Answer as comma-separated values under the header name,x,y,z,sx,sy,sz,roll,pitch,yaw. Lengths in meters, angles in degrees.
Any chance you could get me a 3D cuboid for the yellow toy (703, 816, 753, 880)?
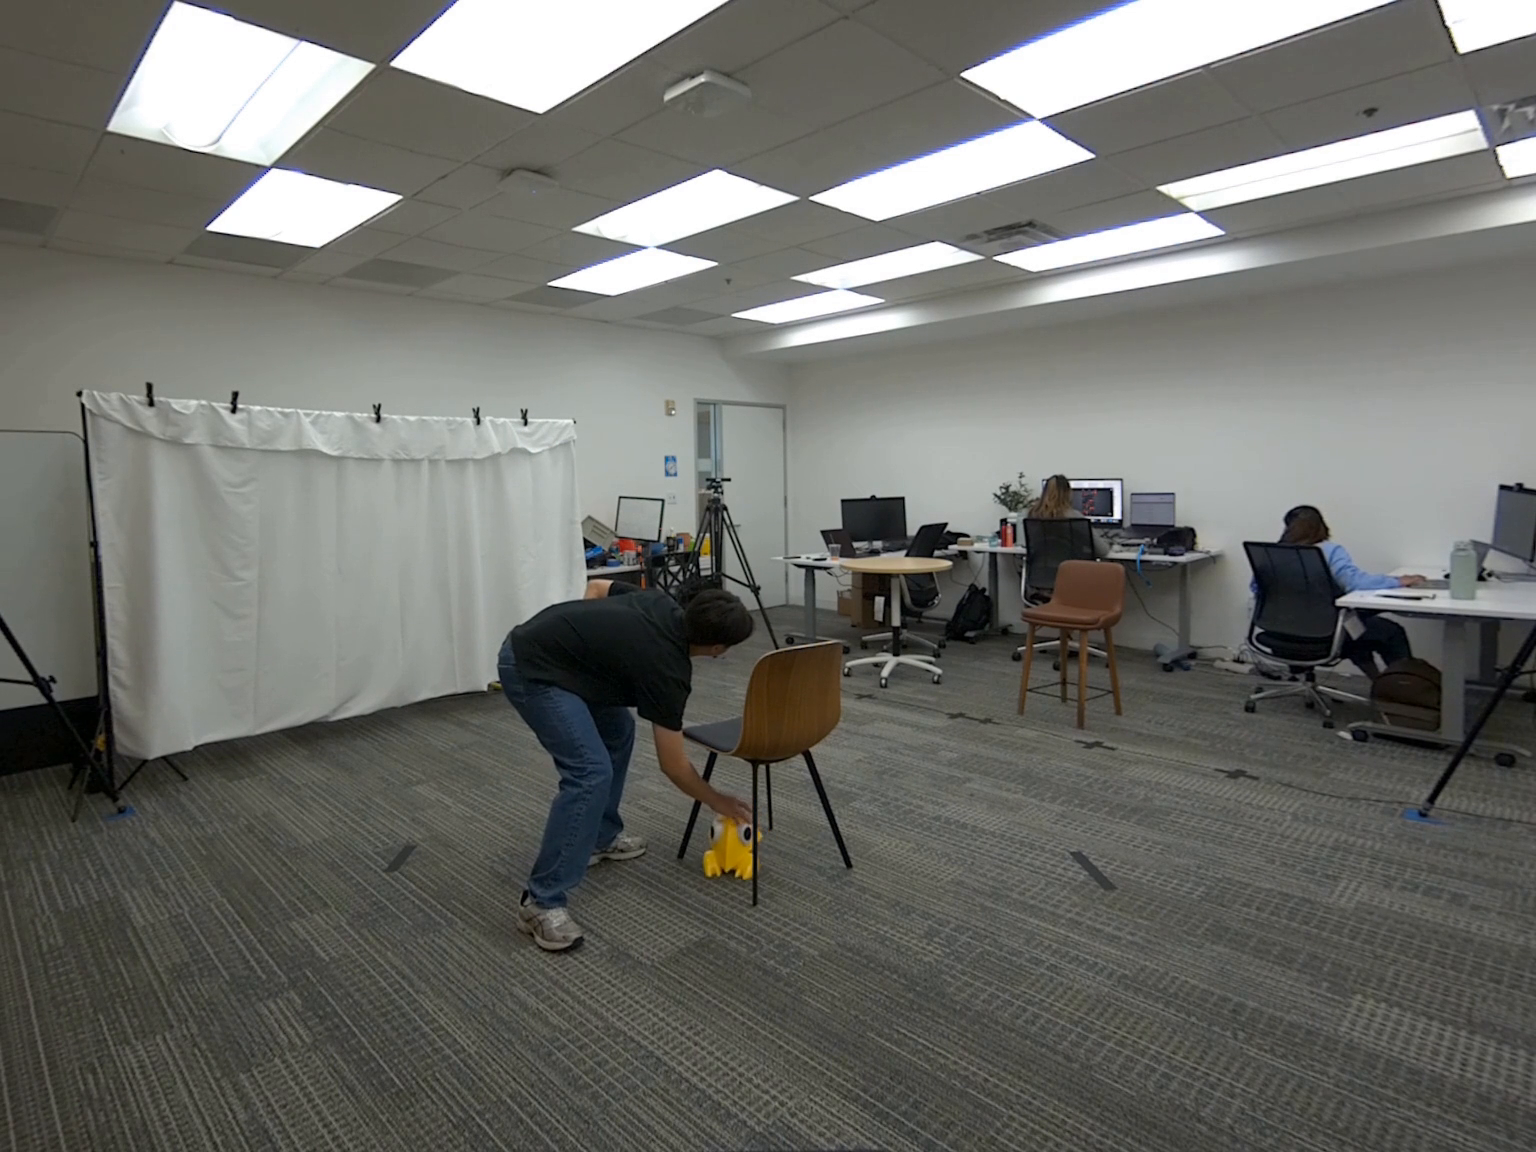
name,x,y,z,sx,sy,sz,roll,pitch,yaw
yellow toy,-0.132,0.936,3.062,0.207,0.230,0.191,1,4,12
